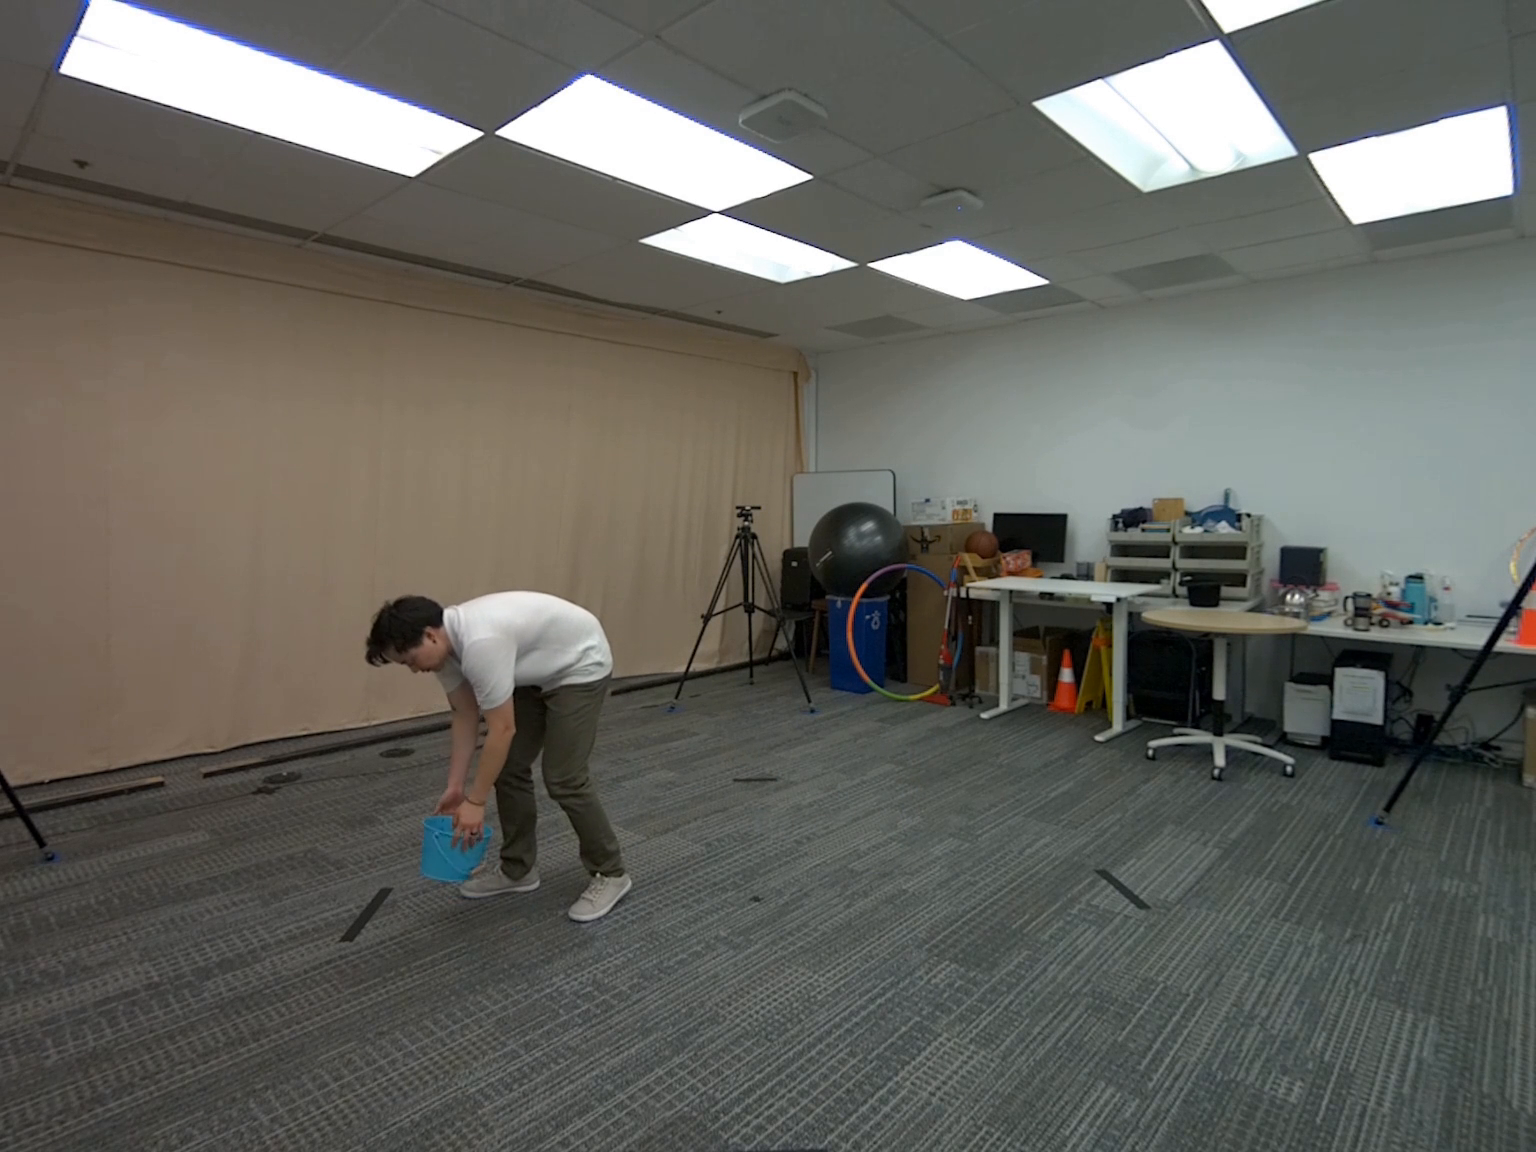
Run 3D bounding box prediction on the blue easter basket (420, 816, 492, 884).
[{"bbox_3d":[-1.045,0.909,2.801,0.243,0.156,0.243,6,-2,-2],"label":"blue easter basket"}]
